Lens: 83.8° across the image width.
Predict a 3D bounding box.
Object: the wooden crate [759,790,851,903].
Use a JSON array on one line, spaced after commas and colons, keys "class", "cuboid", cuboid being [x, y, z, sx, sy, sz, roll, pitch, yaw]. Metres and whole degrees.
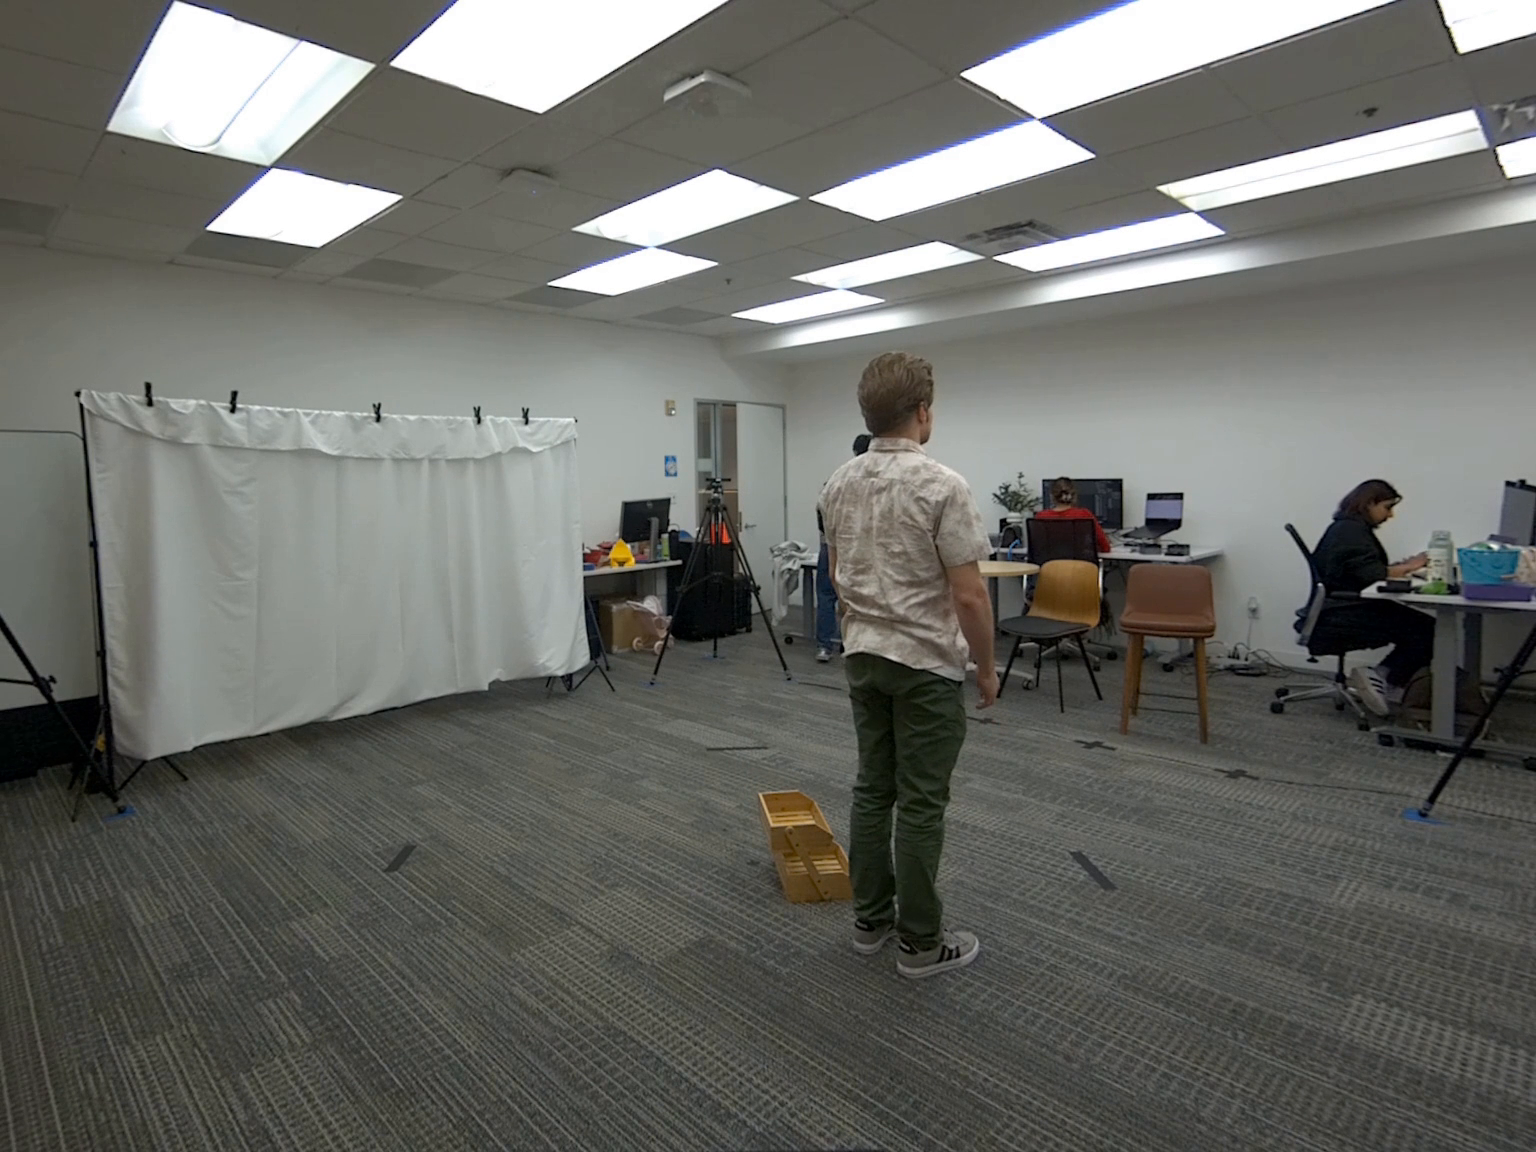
[{"class": "wooden crate", "cuboid": [0.150, 0.924, 2.956, 0.300, 0.272, 0.328, -1, 5, -7]}]
